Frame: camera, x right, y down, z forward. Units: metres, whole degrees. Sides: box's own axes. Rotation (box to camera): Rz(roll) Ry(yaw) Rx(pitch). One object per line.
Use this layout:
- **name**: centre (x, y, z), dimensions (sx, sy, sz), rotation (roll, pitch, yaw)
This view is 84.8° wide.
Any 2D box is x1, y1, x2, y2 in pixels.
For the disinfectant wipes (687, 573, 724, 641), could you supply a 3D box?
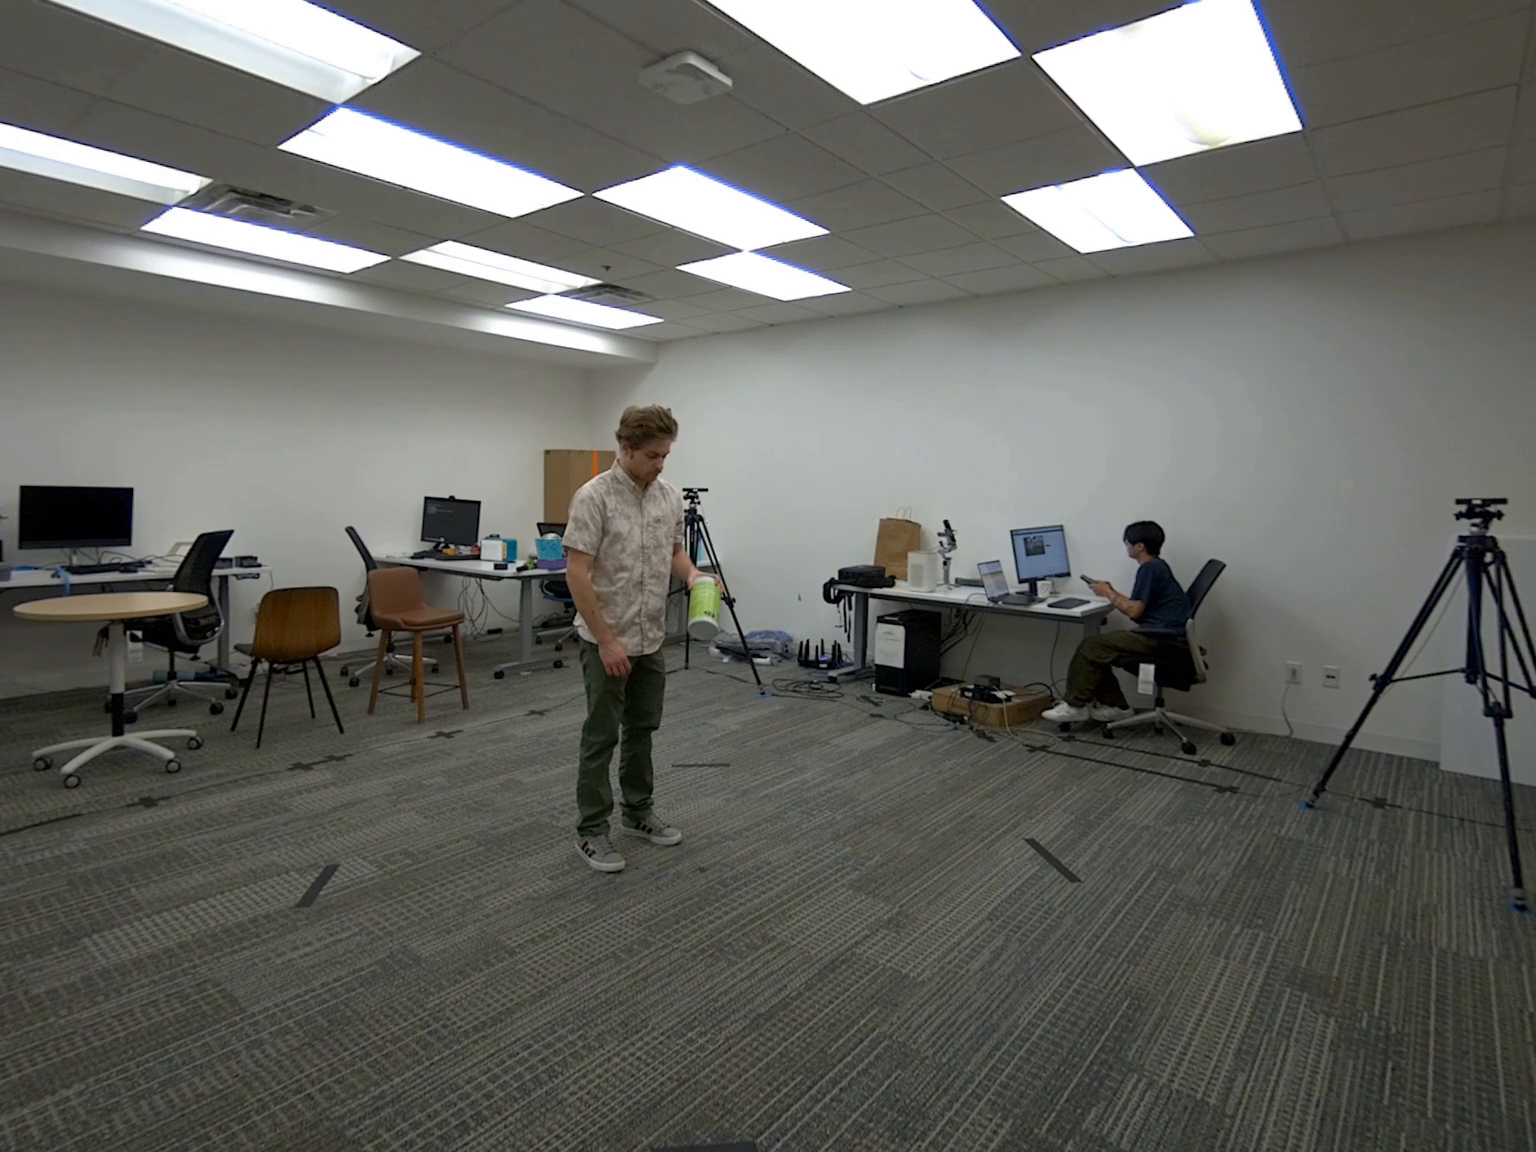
- **disinfectant wipes**: centre (-0.238, 0.113, 3.060), dimensions (0.117, 0.114, 0.224), rotation (0, 47, -2)
